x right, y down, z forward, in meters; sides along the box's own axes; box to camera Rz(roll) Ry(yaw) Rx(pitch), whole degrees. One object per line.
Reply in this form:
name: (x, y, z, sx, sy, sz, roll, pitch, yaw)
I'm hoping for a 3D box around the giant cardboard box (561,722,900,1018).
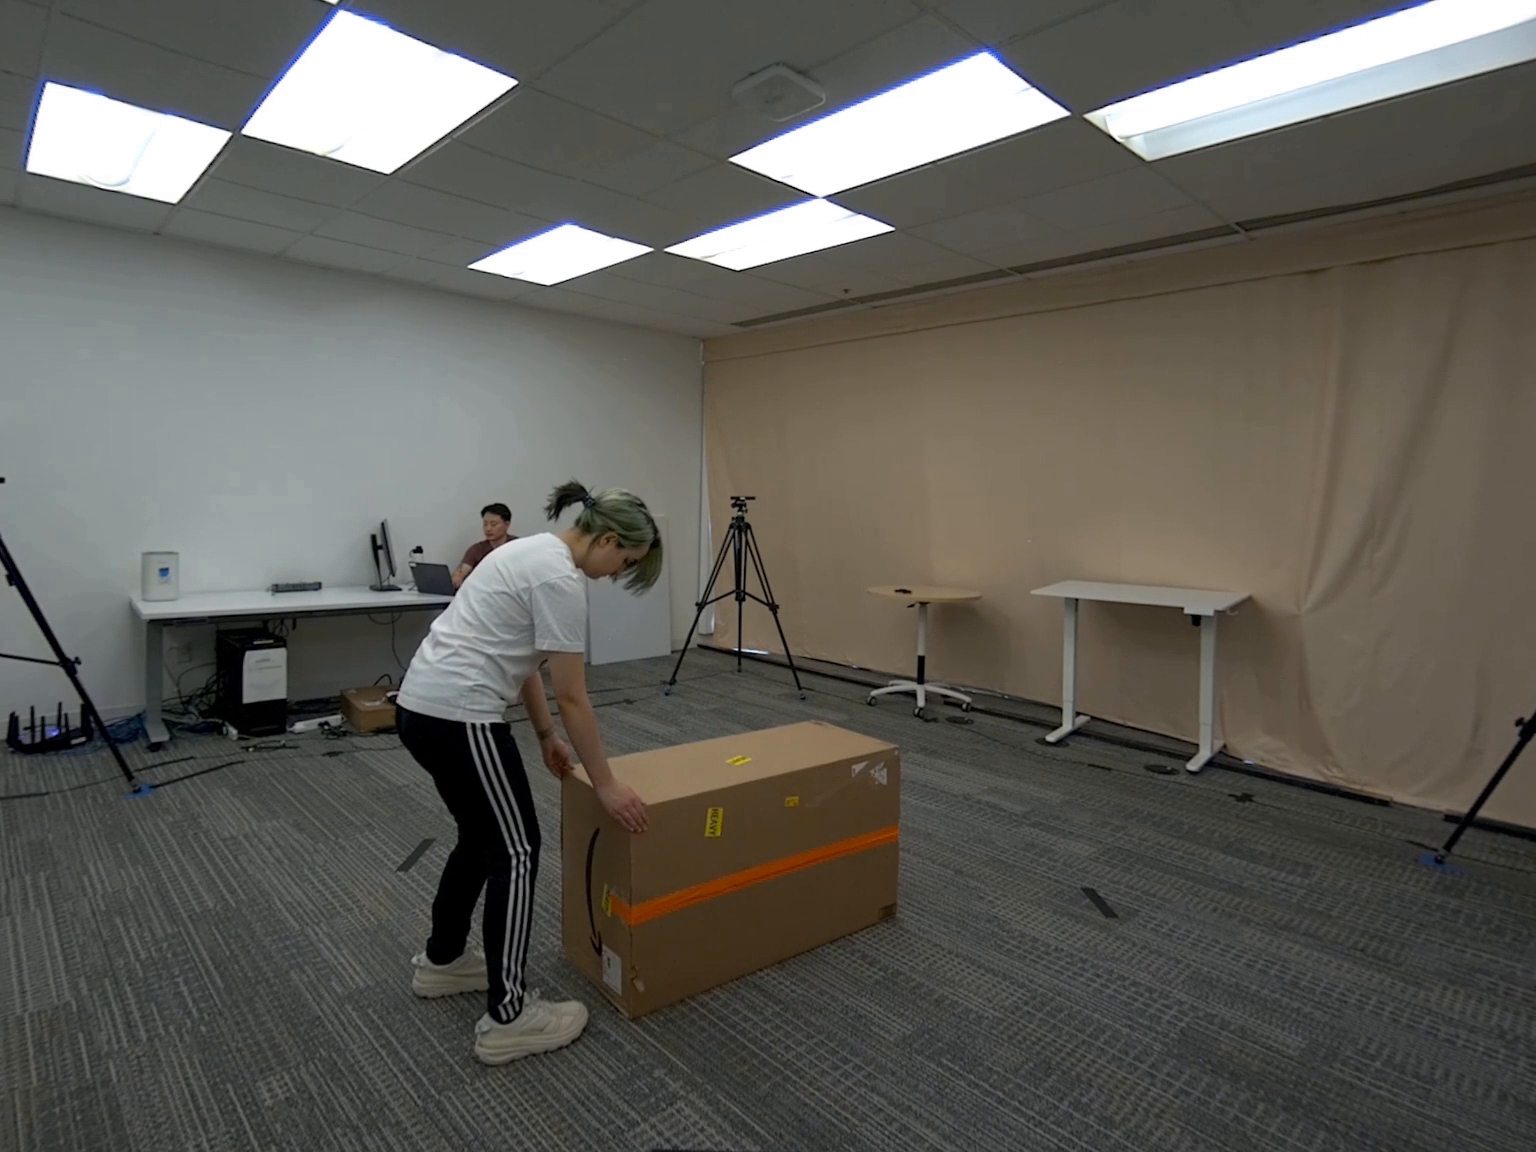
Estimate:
giant cardboard box: (-0.099, 0.858, 2.671, 1.004, 0.582, 0.458, -3, 6, -37)
